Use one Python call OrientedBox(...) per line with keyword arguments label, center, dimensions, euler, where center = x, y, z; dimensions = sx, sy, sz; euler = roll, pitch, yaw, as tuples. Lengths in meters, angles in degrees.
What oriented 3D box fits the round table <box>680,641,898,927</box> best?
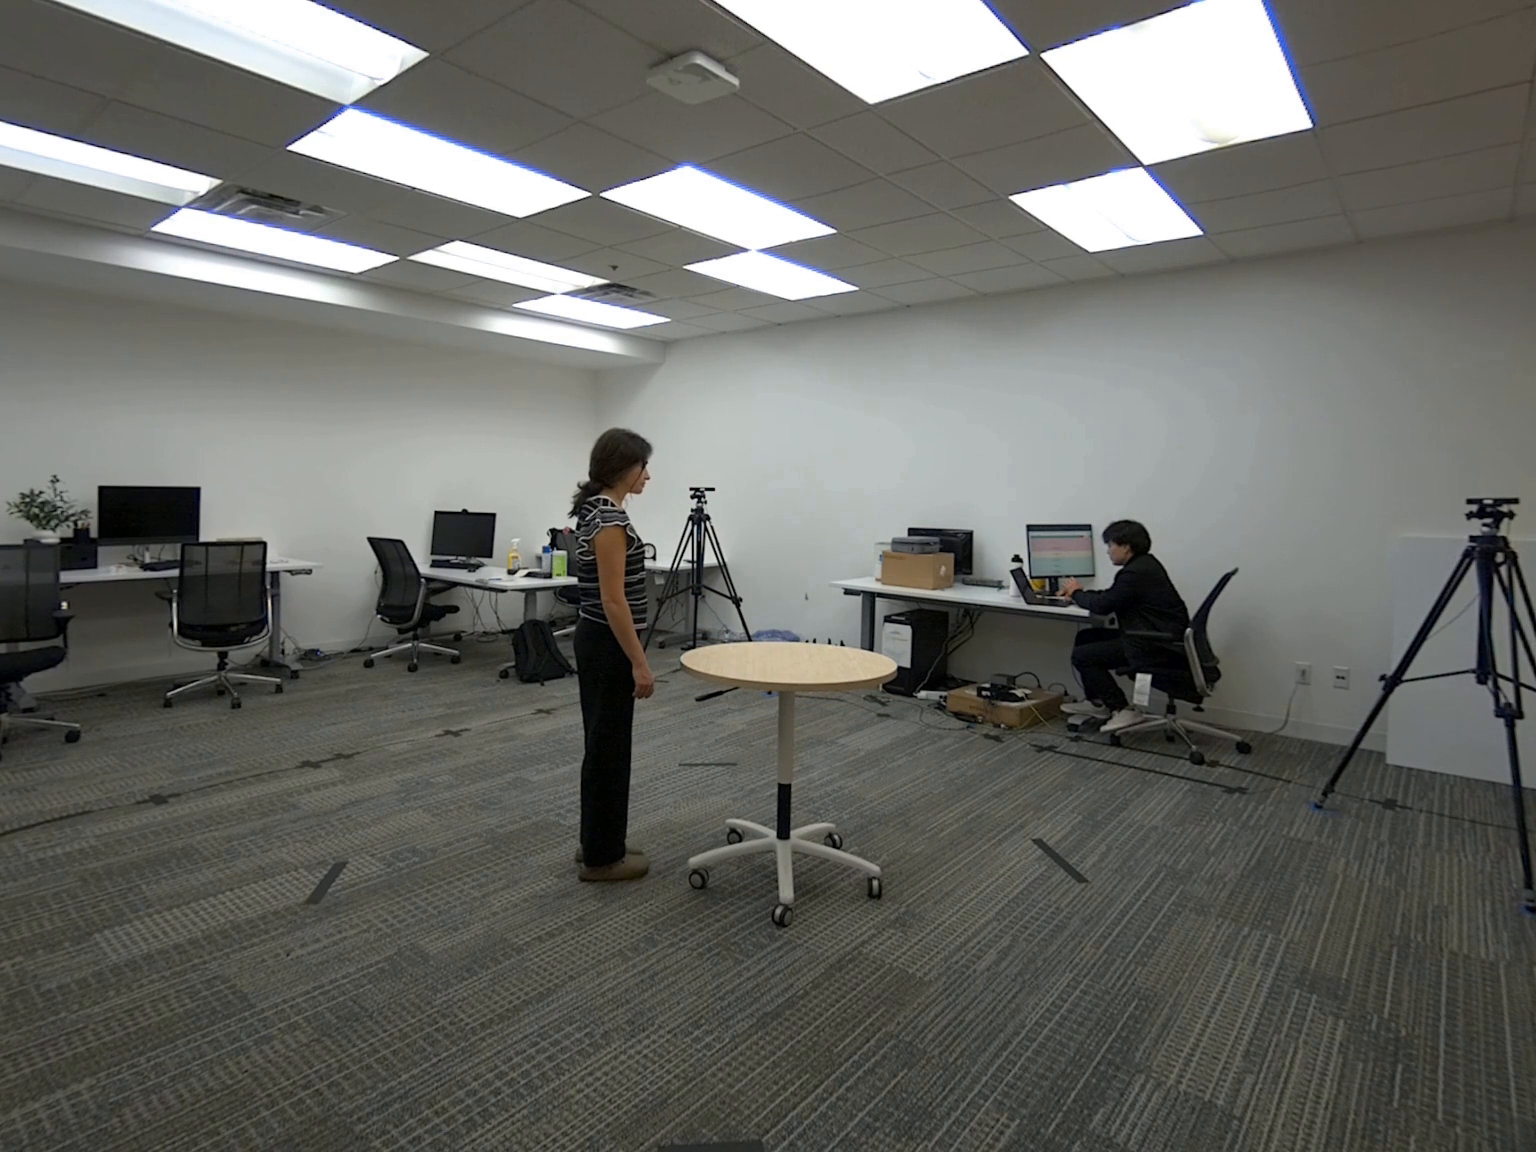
OrientedBox(label="round table", center=(0.041, 0.688, 3.038), dimensions=(0.784, 0.784, 0.788), euler=(1, 4, -2))
